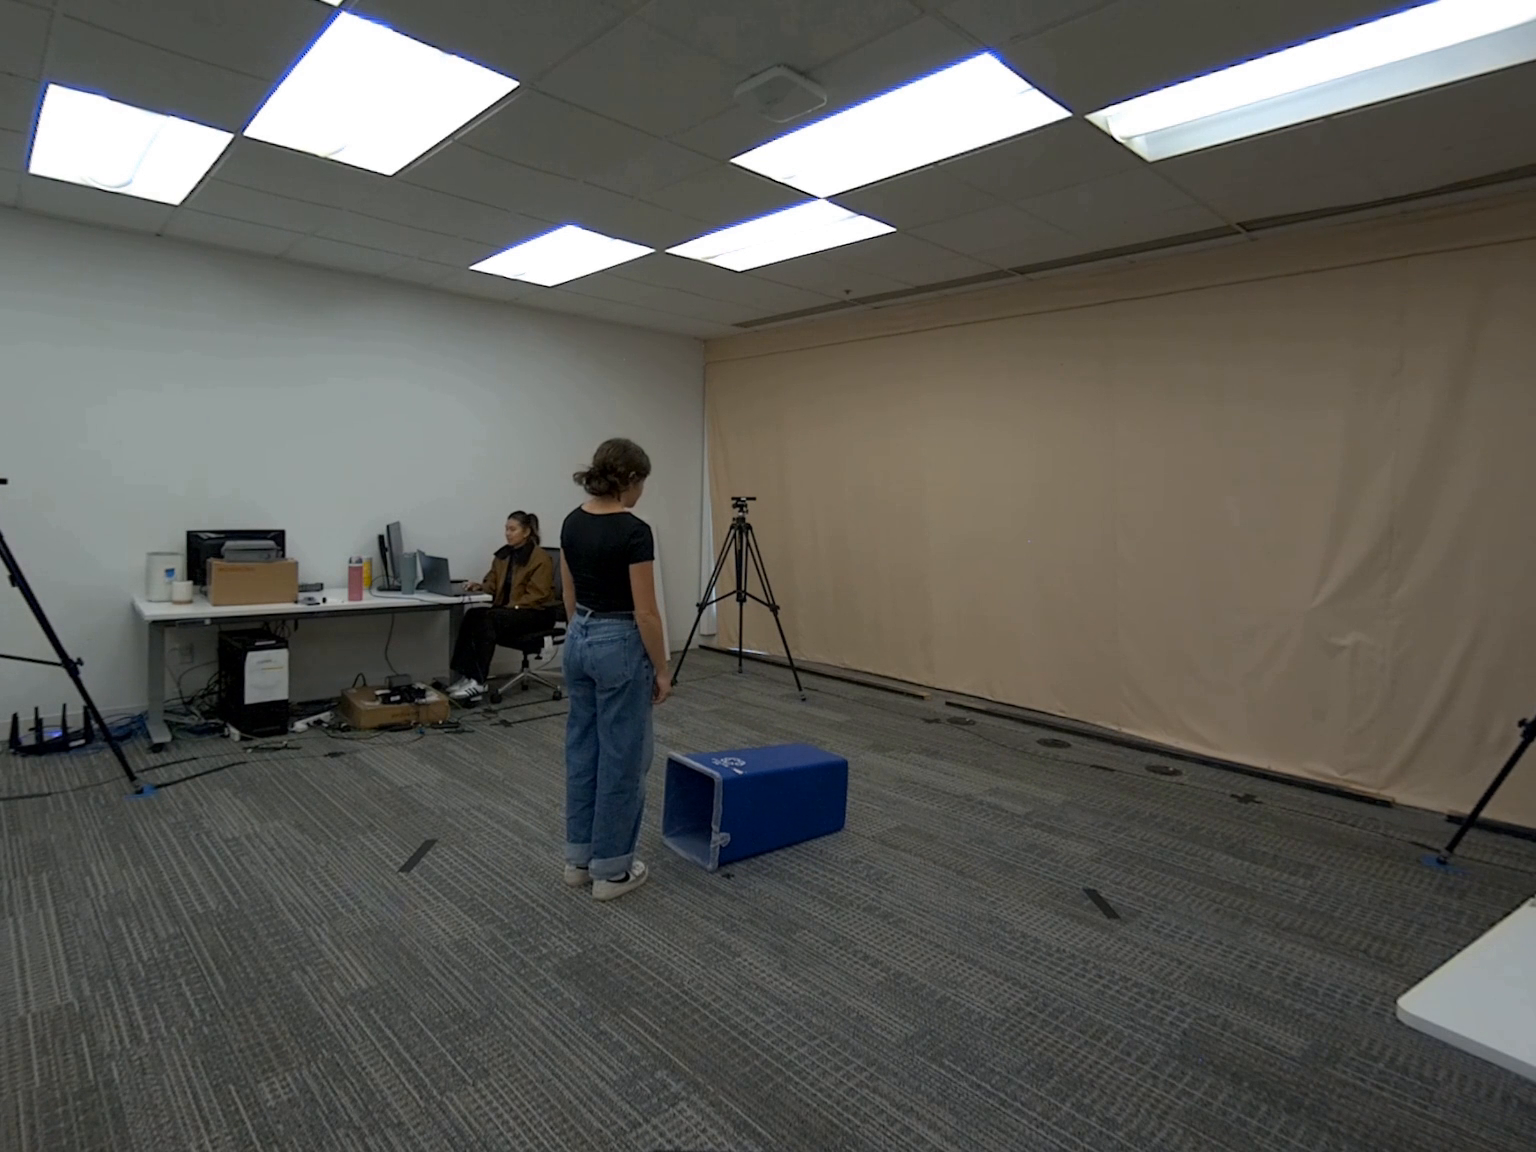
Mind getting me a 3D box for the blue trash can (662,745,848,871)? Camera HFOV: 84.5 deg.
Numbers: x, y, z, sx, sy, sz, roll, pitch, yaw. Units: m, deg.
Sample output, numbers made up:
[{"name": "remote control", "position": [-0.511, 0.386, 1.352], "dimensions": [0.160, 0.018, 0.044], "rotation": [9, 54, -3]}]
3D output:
[{"name": "blue trash can", "position": [-0.045, 0.911, 3.469], "dimensions": [0.696, 0.378, 0.383], "rotation": [2, 2, -39]}]
